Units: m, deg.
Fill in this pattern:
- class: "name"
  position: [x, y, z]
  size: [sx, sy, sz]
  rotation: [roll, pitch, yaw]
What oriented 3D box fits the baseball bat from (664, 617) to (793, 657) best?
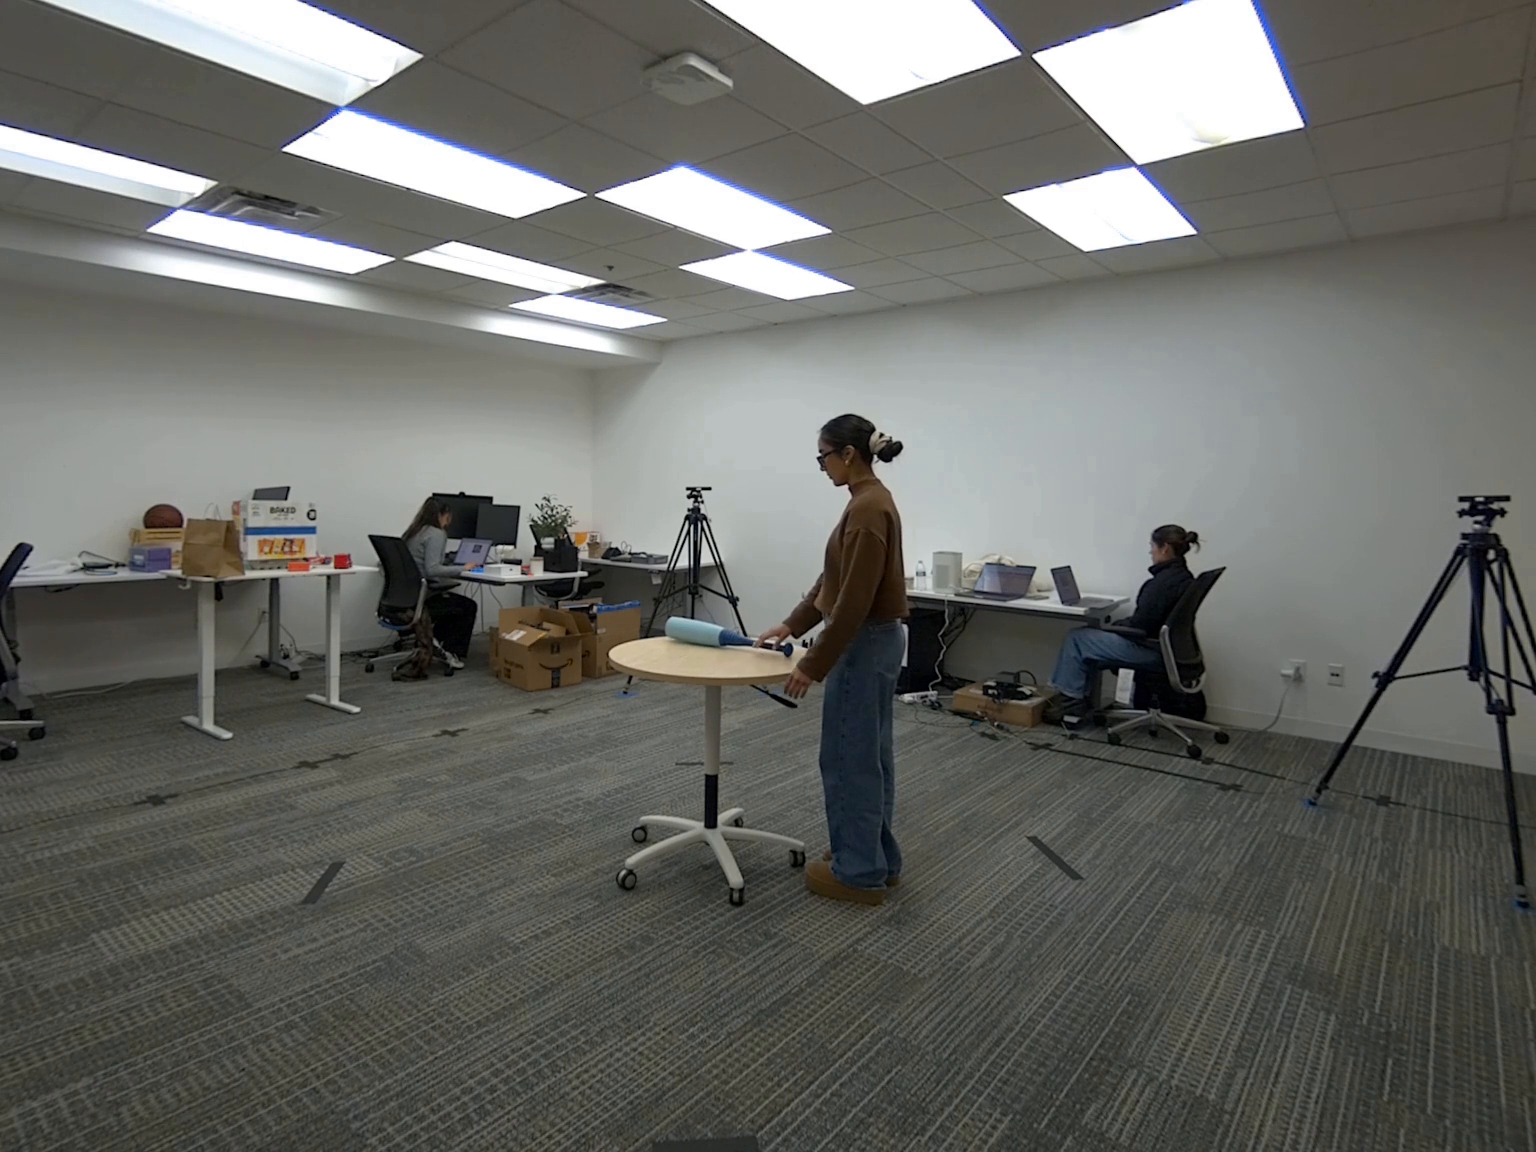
- class: "baseball bat"
  position: [-0.160, 0.235, 3.225]
  size: [0.560, 0.088, 0.087]
  rotation: [8, 7, 29]
